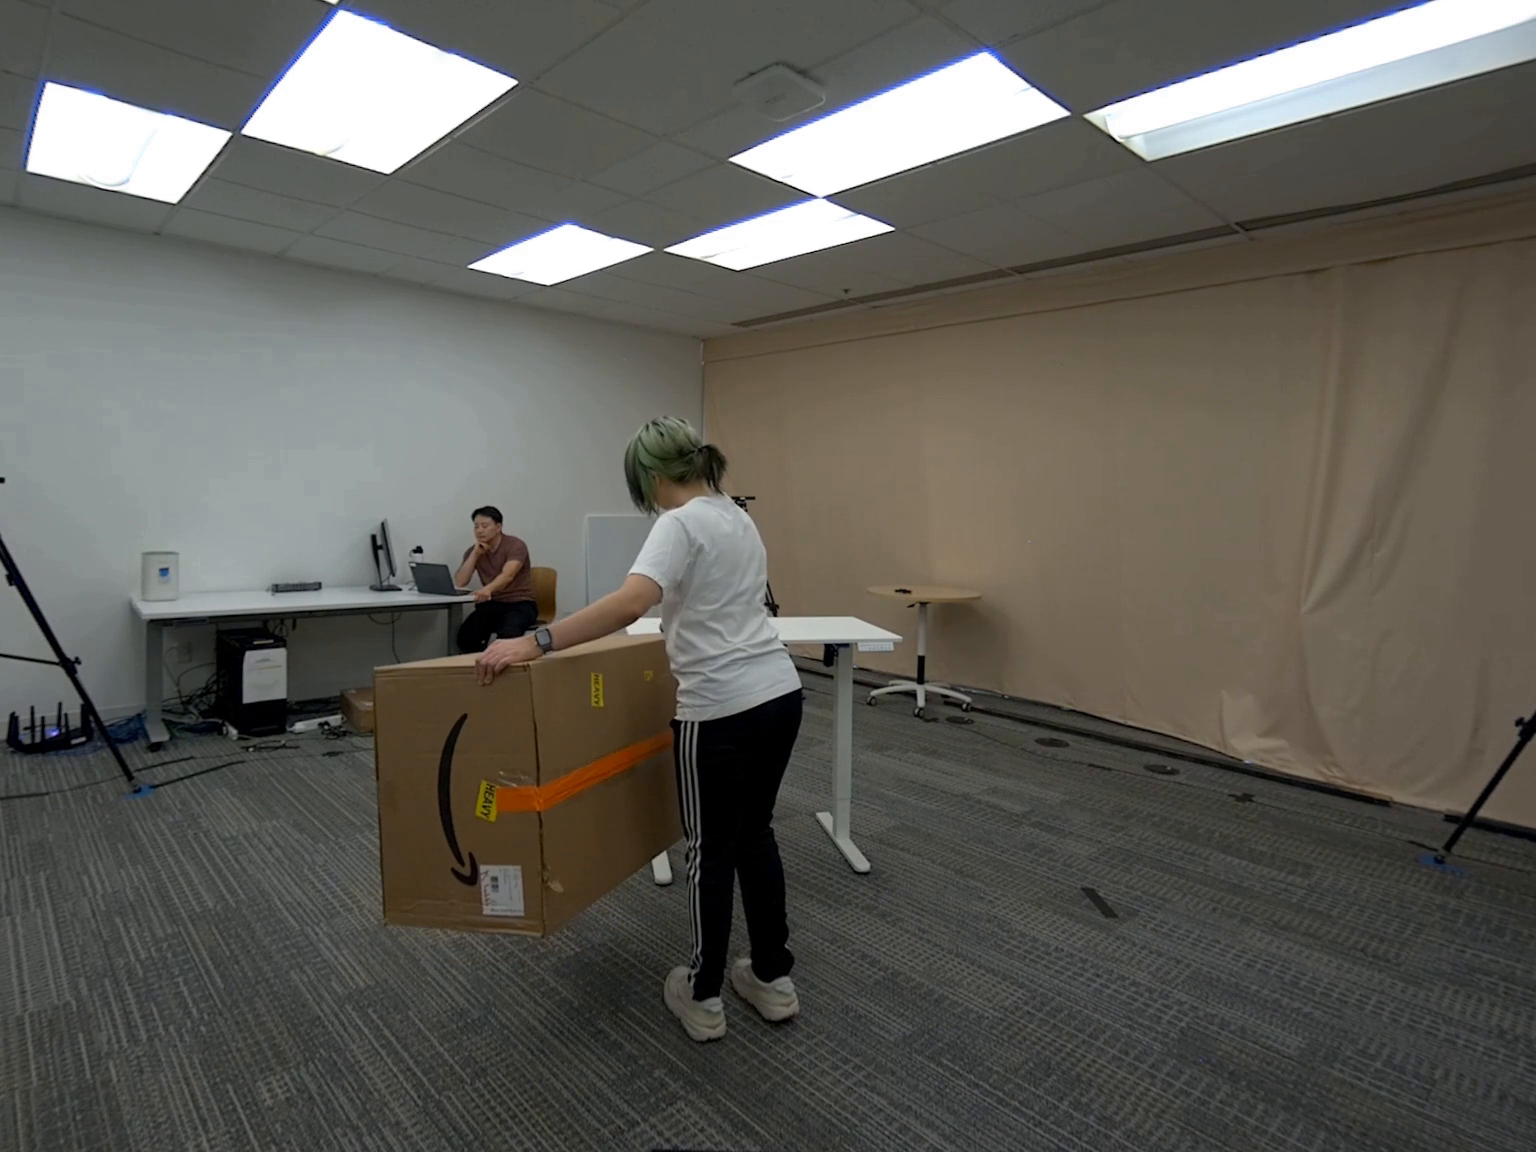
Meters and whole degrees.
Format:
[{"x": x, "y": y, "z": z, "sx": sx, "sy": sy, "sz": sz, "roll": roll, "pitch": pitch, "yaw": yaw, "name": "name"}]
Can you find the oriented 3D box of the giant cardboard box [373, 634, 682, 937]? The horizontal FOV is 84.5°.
[{"x": -0.537, "y": 0.483, "z": 2.300, "sx": 0.453, "sy": 0.585, "sz": 1.011, "roll": -3, "pitch": -1, "yaw": 18, "name": "giant cardboard box"}]
